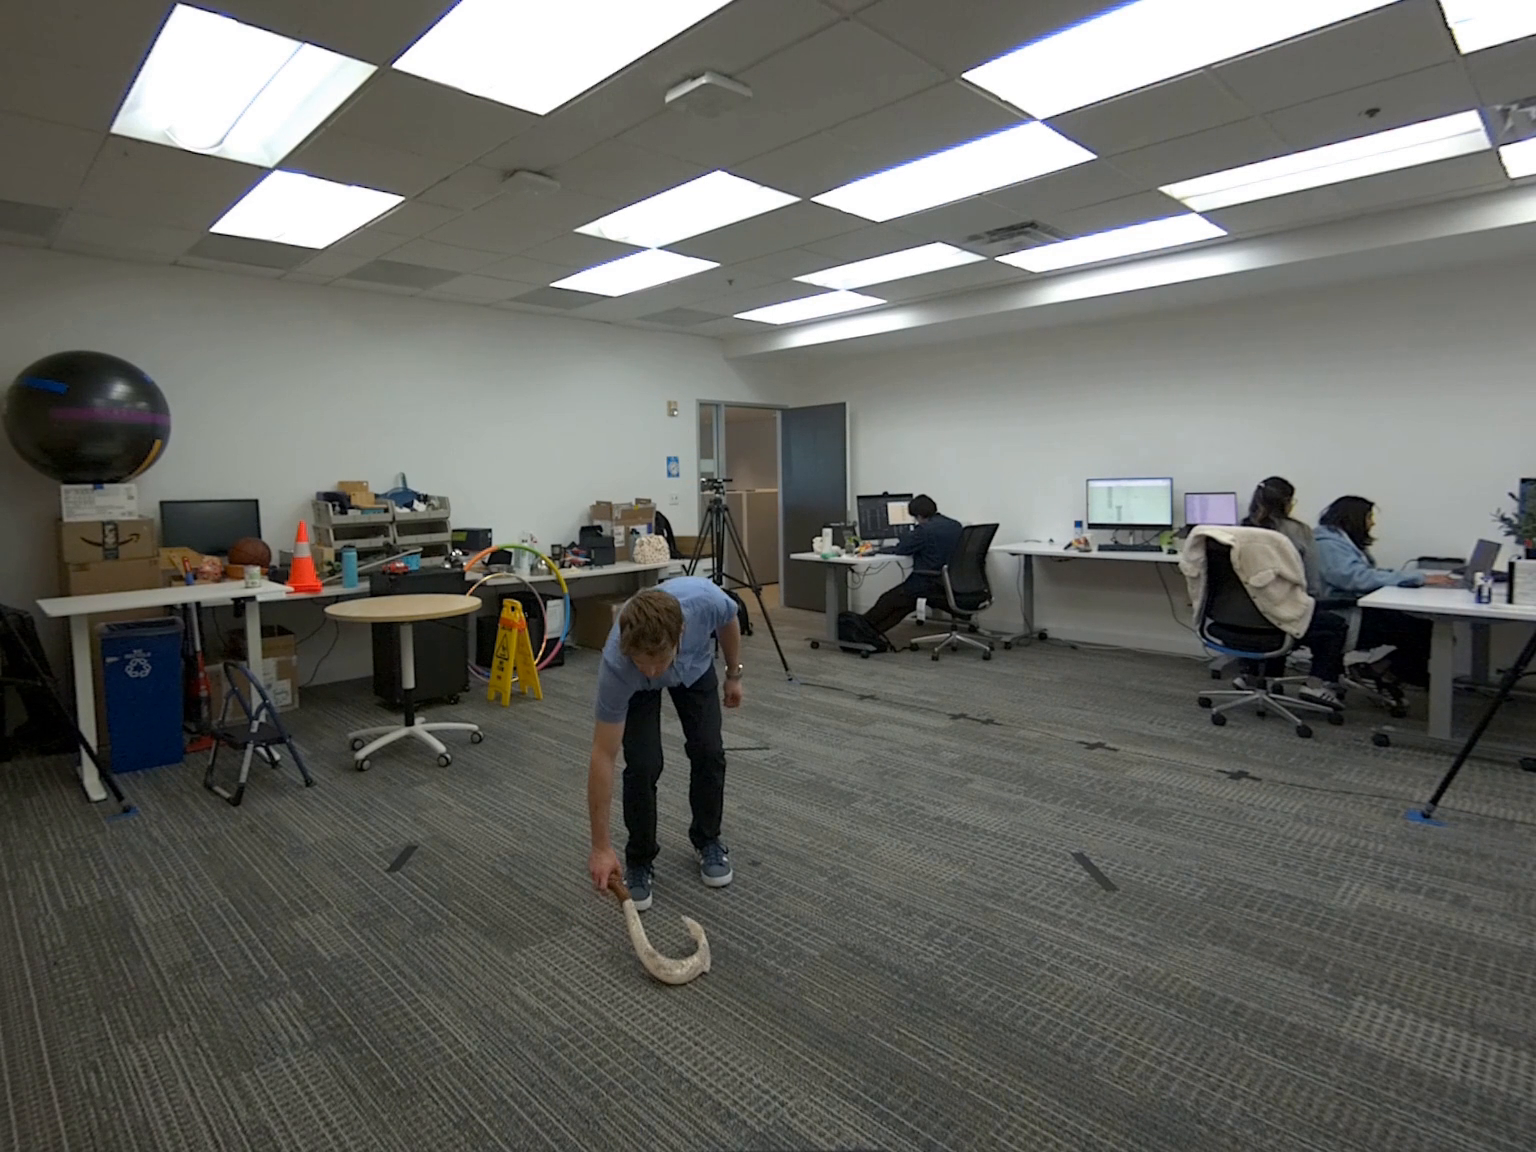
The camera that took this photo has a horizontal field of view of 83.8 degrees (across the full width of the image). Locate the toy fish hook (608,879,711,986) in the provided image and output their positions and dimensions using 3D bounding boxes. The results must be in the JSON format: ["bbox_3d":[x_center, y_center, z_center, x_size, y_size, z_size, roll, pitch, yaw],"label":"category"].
[{"bbox_3d":[-0.349,1.016,2.565,0.218,0.048,0.527,-3,27,-39],"label":"toy fish hook"}]
